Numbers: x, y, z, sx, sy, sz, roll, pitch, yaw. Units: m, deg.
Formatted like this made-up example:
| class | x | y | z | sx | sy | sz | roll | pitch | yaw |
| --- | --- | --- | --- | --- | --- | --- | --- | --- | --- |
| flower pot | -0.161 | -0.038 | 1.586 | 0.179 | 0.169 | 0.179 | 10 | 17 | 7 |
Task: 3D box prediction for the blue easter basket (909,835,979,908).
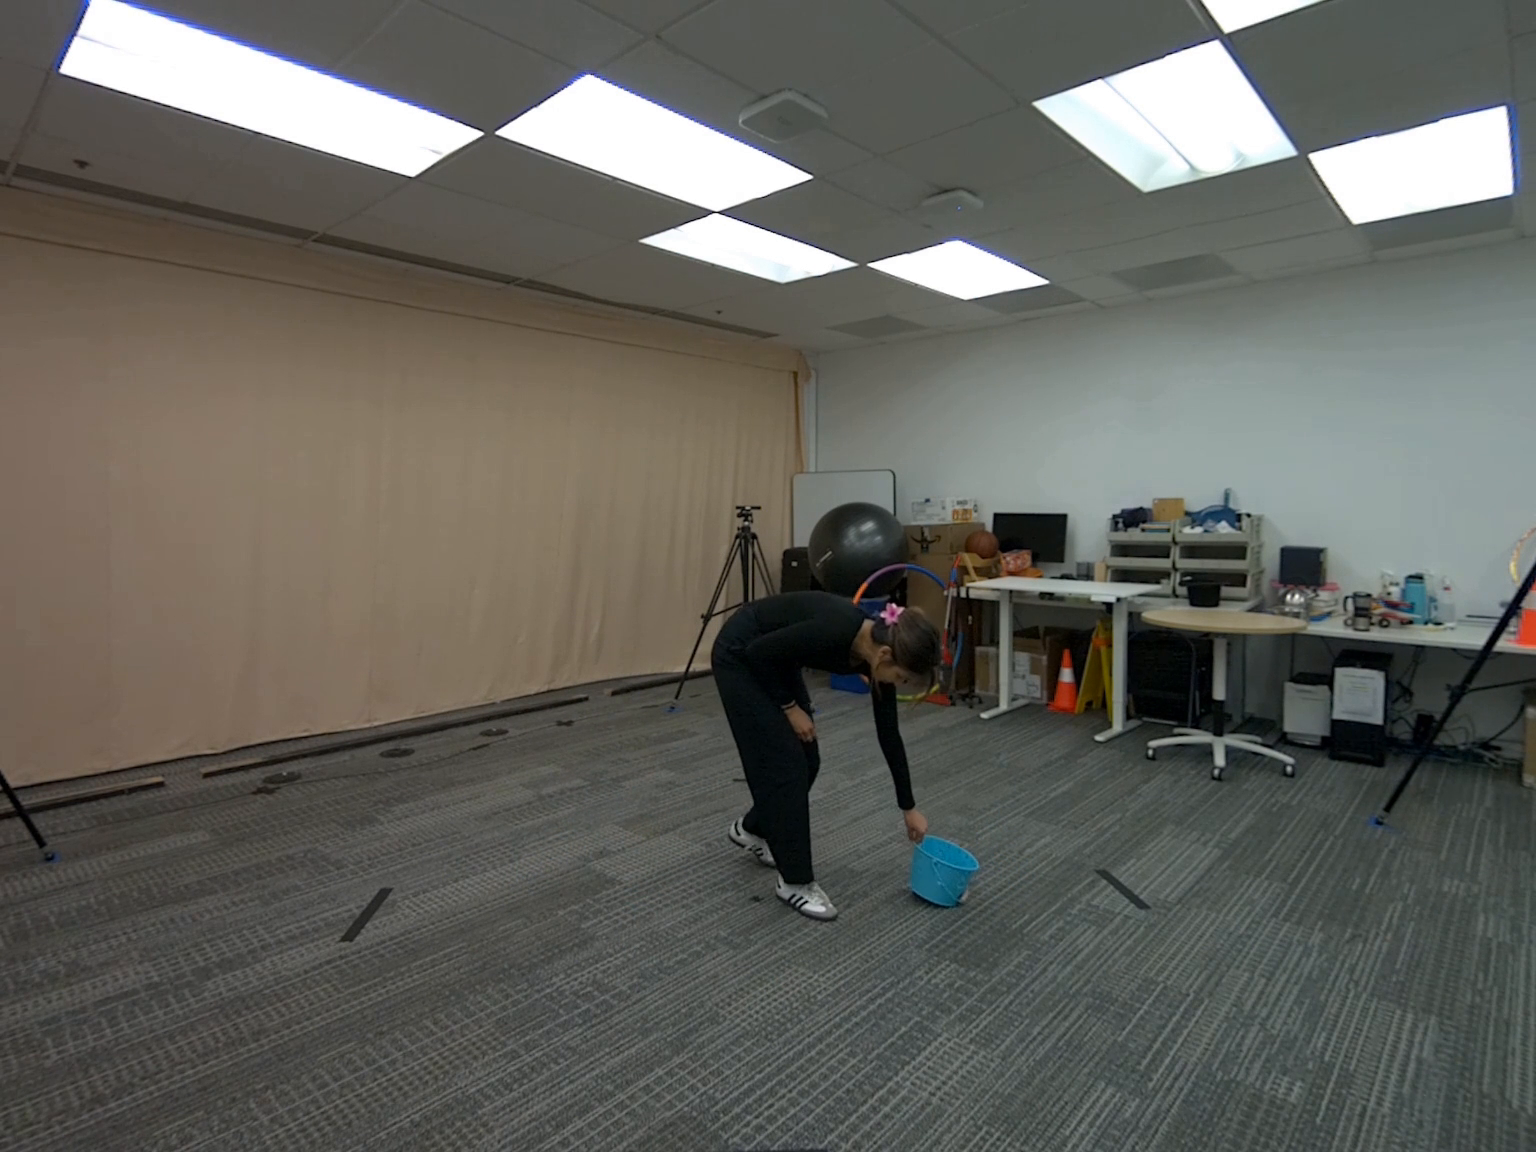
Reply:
| class | x | y | z | sx | sy | sz | roll | pitch | yaw |
| --- | --- | --- | --- | --- | --- | --- | --- | --- | --- |
| blue easter basket | 0.618 | 1.049 | 2.964 | 0.243 | 0.155 | 0.245 | 15 | 5 | -3 |
